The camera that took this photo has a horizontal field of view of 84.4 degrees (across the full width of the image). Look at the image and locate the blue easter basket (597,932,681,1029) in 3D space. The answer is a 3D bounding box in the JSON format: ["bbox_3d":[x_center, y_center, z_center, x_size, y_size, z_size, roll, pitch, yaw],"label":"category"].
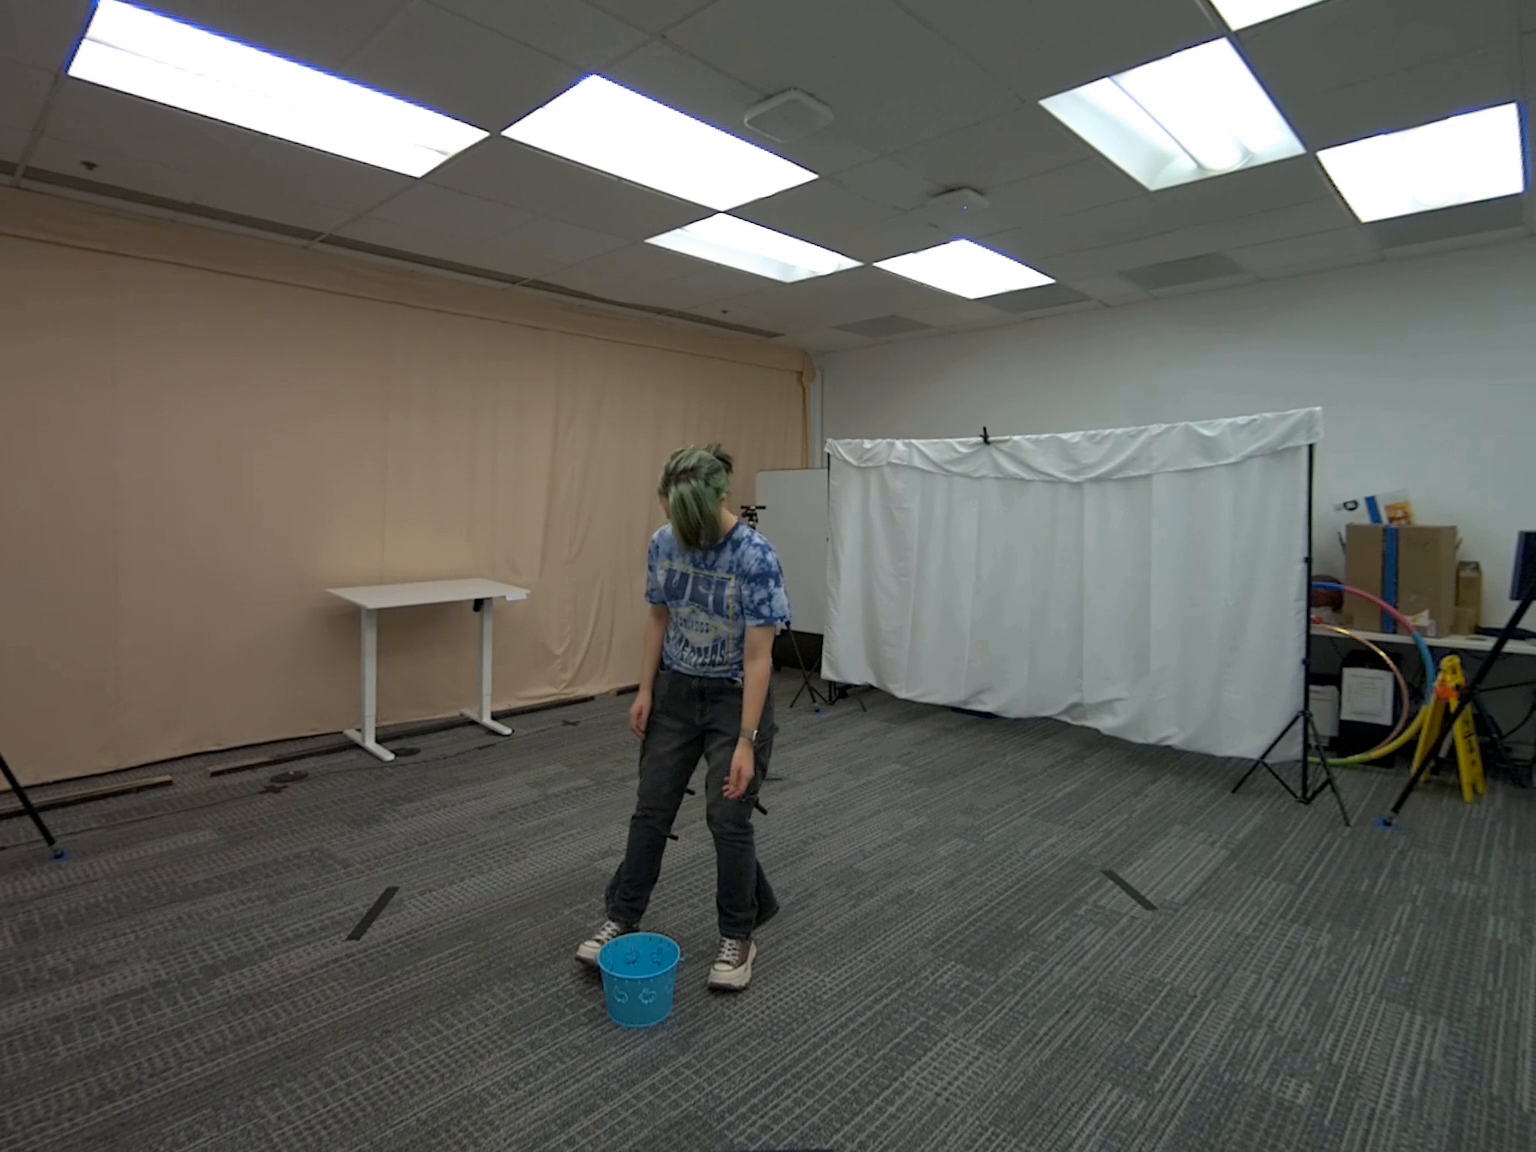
[{"bbox_3d":[-0.347,1.124,2.336,0.243,0.155,0.244,-1,5,-2],"label":"blue easter basket"}]
